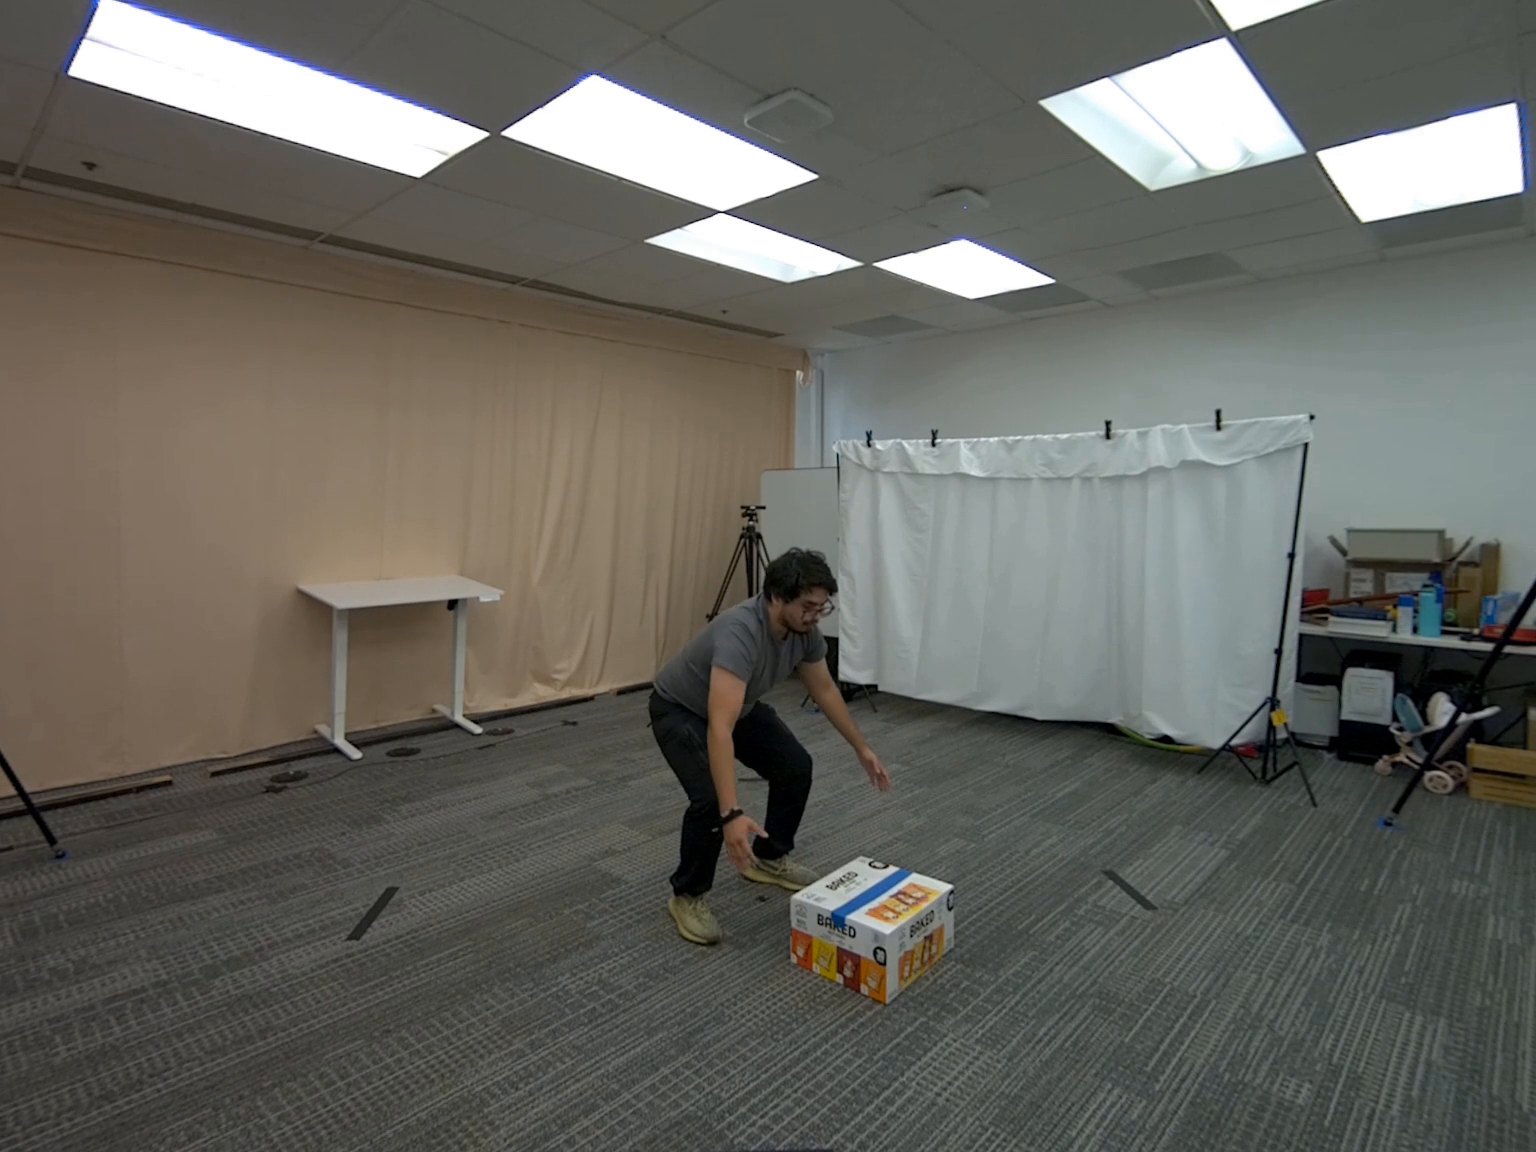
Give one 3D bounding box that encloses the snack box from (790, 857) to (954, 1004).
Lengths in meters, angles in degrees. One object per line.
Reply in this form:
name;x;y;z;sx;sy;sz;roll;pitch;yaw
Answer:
snack box;0.334;1.076;2.594;0.351;0.205;0.393;4;6;40
